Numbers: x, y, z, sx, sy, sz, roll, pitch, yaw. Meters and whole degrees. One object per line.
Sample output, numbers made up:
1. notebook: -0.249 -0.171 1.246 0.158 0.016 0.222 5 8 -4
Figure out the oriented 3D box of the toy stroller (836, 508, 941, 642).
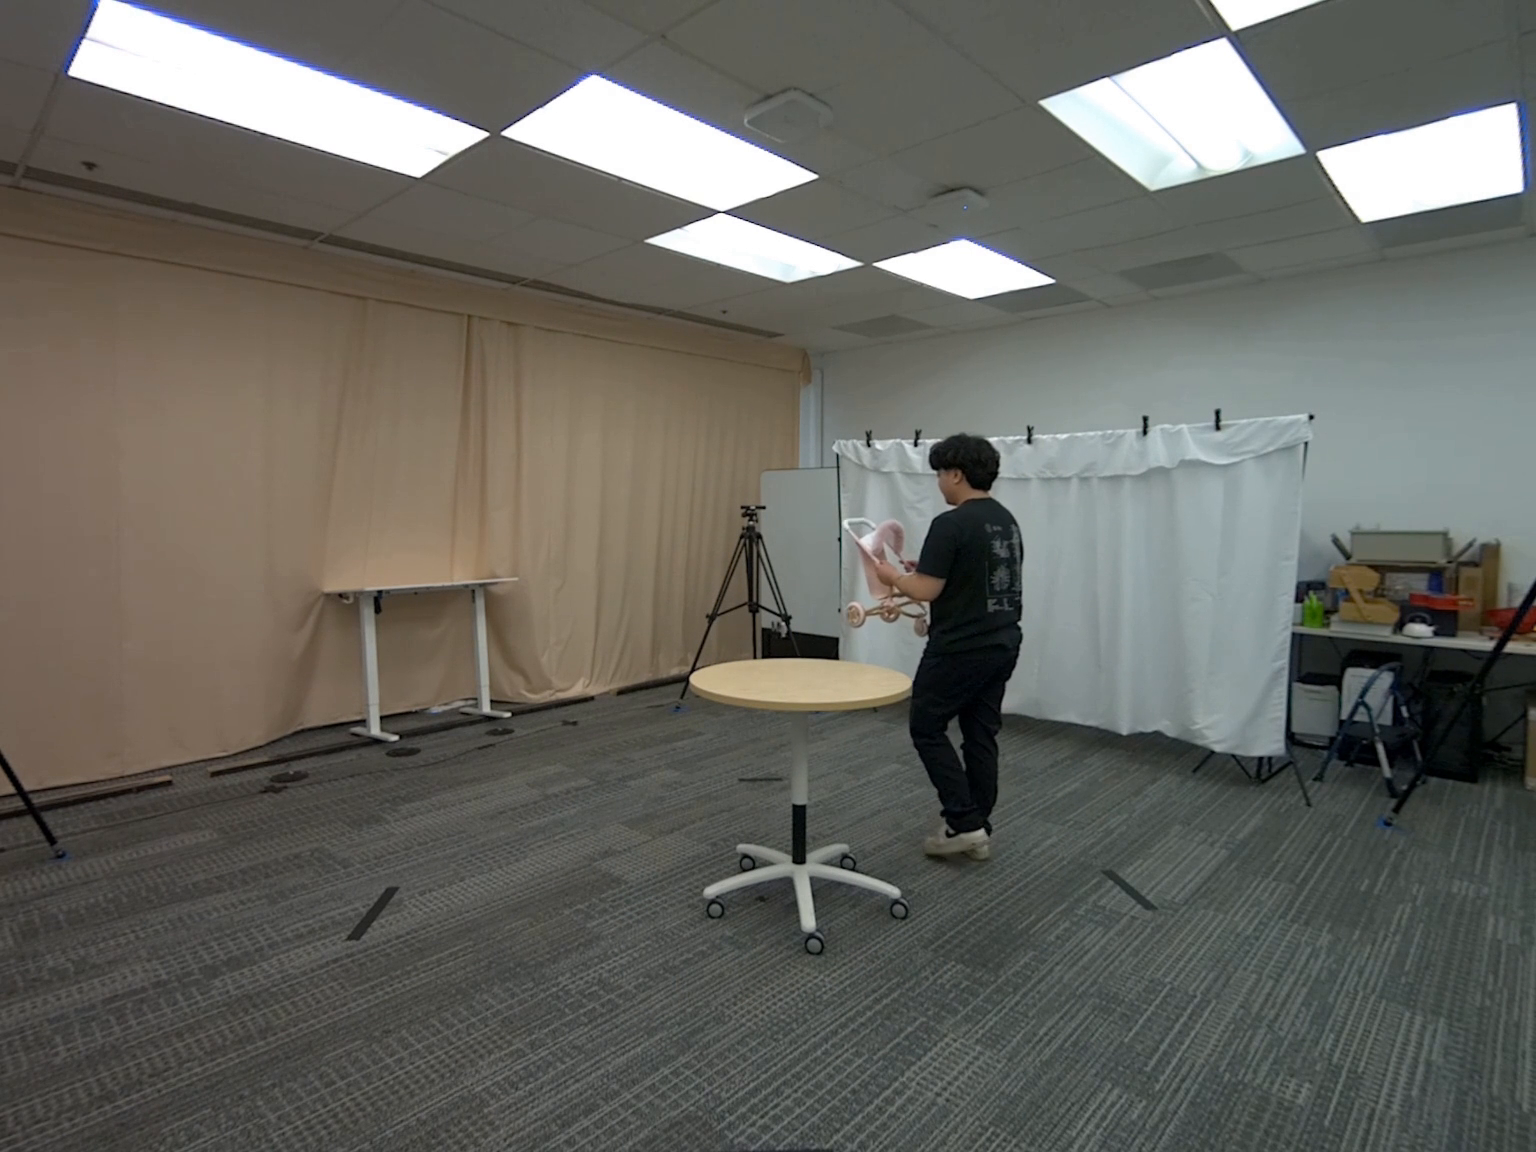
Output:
1. toy stroller: 0.532 -0.001 3.618 0.273 0.536 0.351 -1 -5 -41
